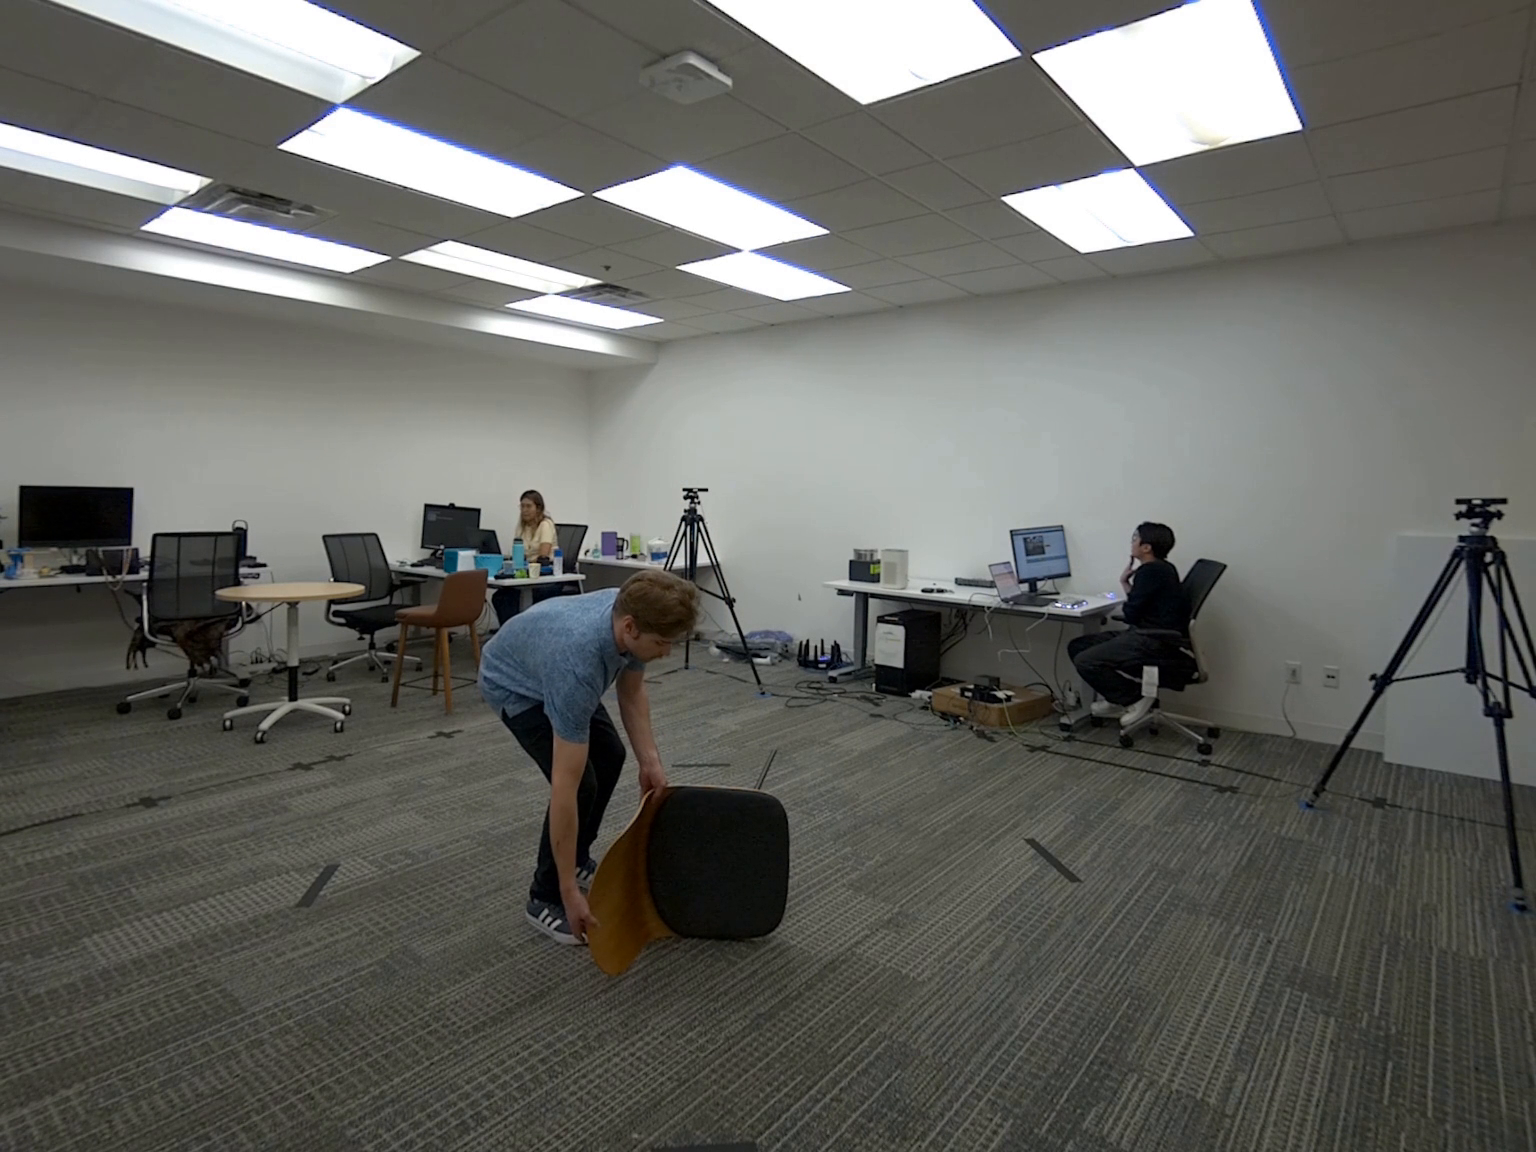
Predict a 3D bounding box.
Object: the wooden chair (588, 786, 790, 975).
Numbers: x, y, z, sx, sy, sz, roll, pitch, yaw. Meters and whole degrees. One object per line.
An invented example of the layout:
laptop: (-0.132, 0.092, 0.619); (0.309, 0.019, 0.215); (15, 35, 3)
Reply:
wooden chair: (-0.209, 0.884, 2.664); (0.527, 0.477, 0.874); (3, 4, 5)
